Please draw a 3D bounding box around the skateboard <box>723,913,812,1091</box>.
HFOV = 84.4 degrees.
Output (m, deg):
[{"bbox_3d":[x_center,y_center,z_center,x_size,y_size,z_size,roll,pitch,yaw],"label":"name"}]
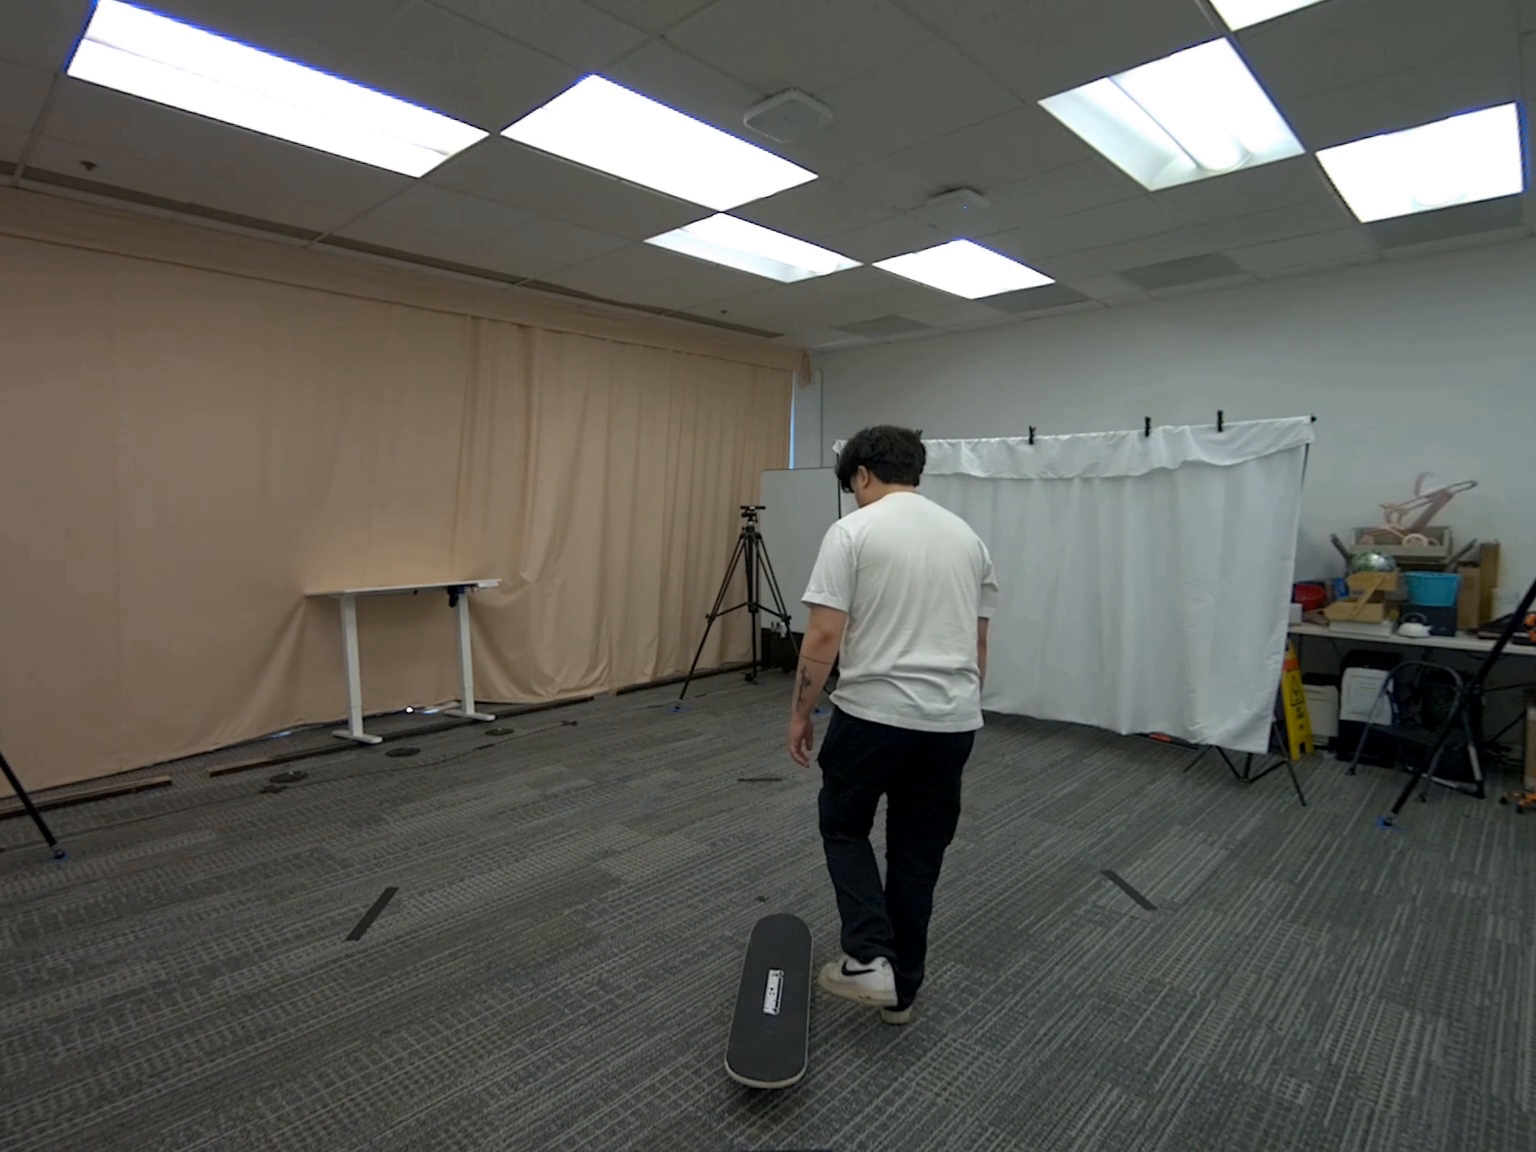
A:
[{"bbox_3d":[0.027,1.147,2.268,0.195,0.110,0.781,0,5,5],"label":"skateboard"}]
